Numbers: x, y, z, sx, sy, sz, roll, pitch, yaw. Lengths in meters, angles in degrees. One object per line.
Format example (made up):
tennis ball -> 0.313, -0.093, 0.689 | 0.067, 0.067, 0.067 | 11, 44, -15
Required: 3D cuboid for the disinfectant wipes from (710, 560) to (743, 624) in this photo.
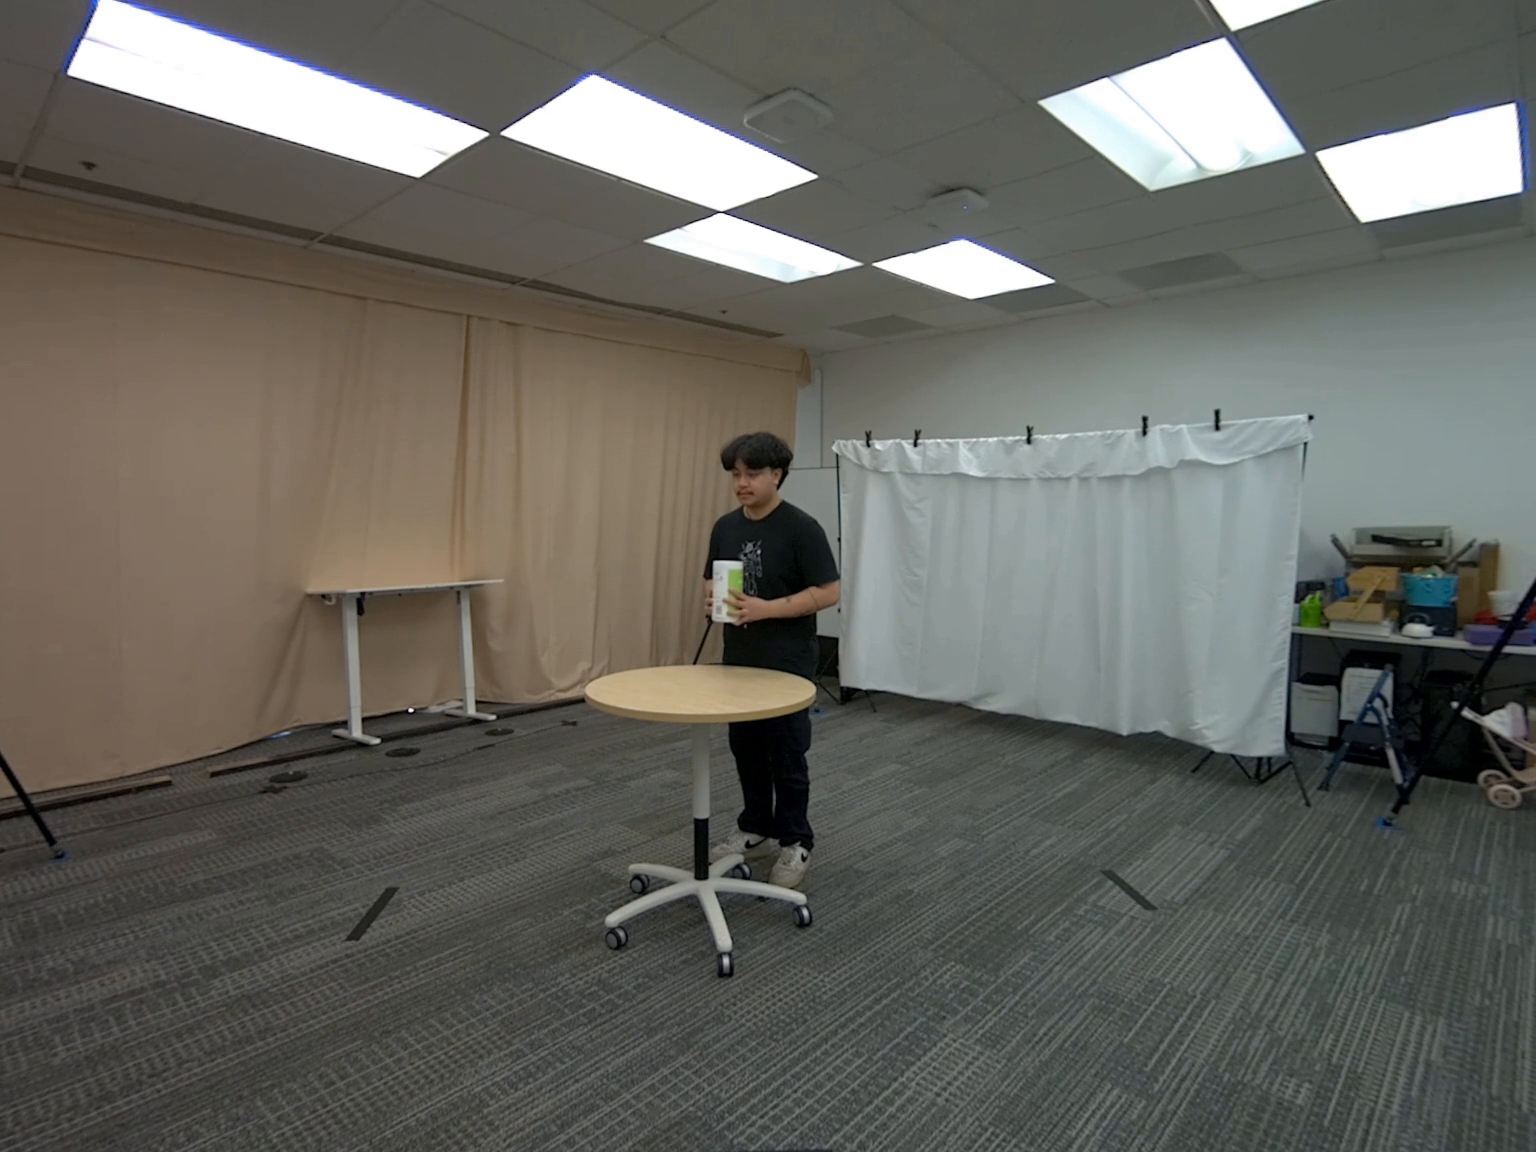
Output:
disinfectant wipes -> -0.141, 0.051, 3.024 | 0.117, 0.217, 0.118 | 2, 3, -2
